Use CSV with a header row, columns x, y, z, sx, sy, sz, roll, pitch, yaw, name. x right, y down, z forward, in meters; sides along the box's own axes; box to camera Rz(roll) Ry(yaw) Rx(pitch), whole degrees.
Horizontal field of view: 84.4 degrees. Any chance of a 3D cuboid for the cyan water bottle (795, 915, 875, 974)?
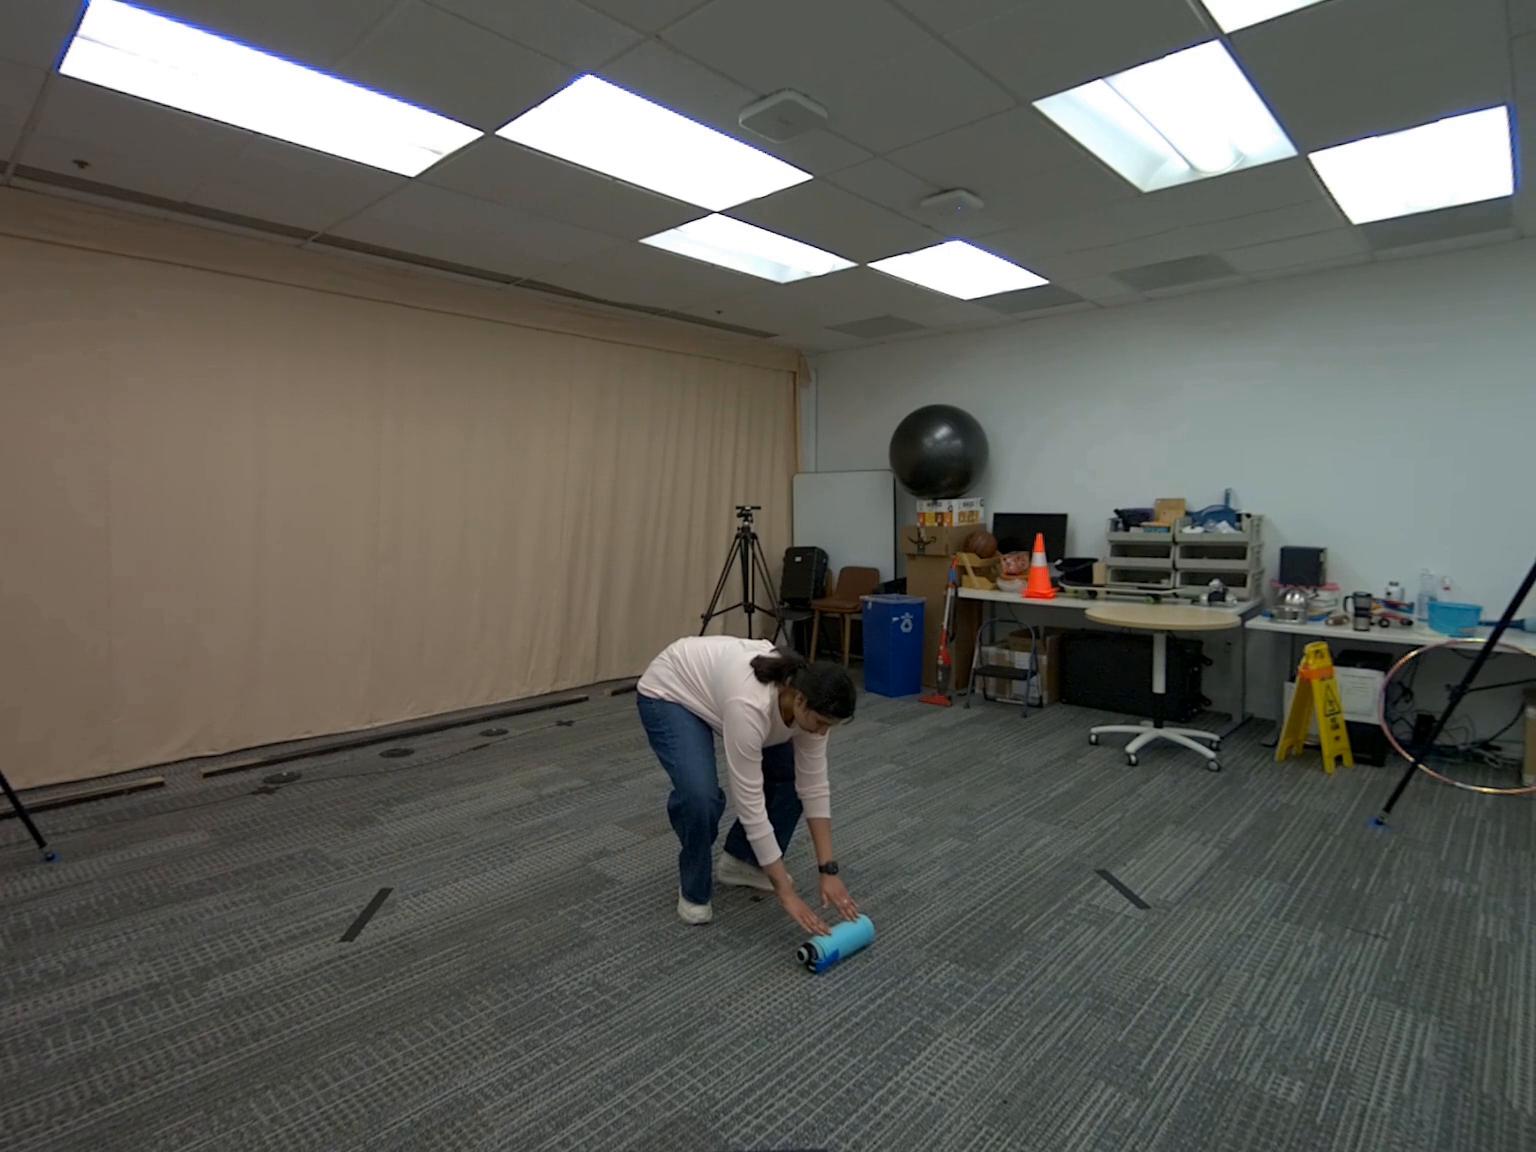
x,y,z,sx,sy,sz,roll,pitch,yaw,name
0.214,1.130,2.593,0.275,0.092,0.095,-4,5,-43,cyan water bottle
